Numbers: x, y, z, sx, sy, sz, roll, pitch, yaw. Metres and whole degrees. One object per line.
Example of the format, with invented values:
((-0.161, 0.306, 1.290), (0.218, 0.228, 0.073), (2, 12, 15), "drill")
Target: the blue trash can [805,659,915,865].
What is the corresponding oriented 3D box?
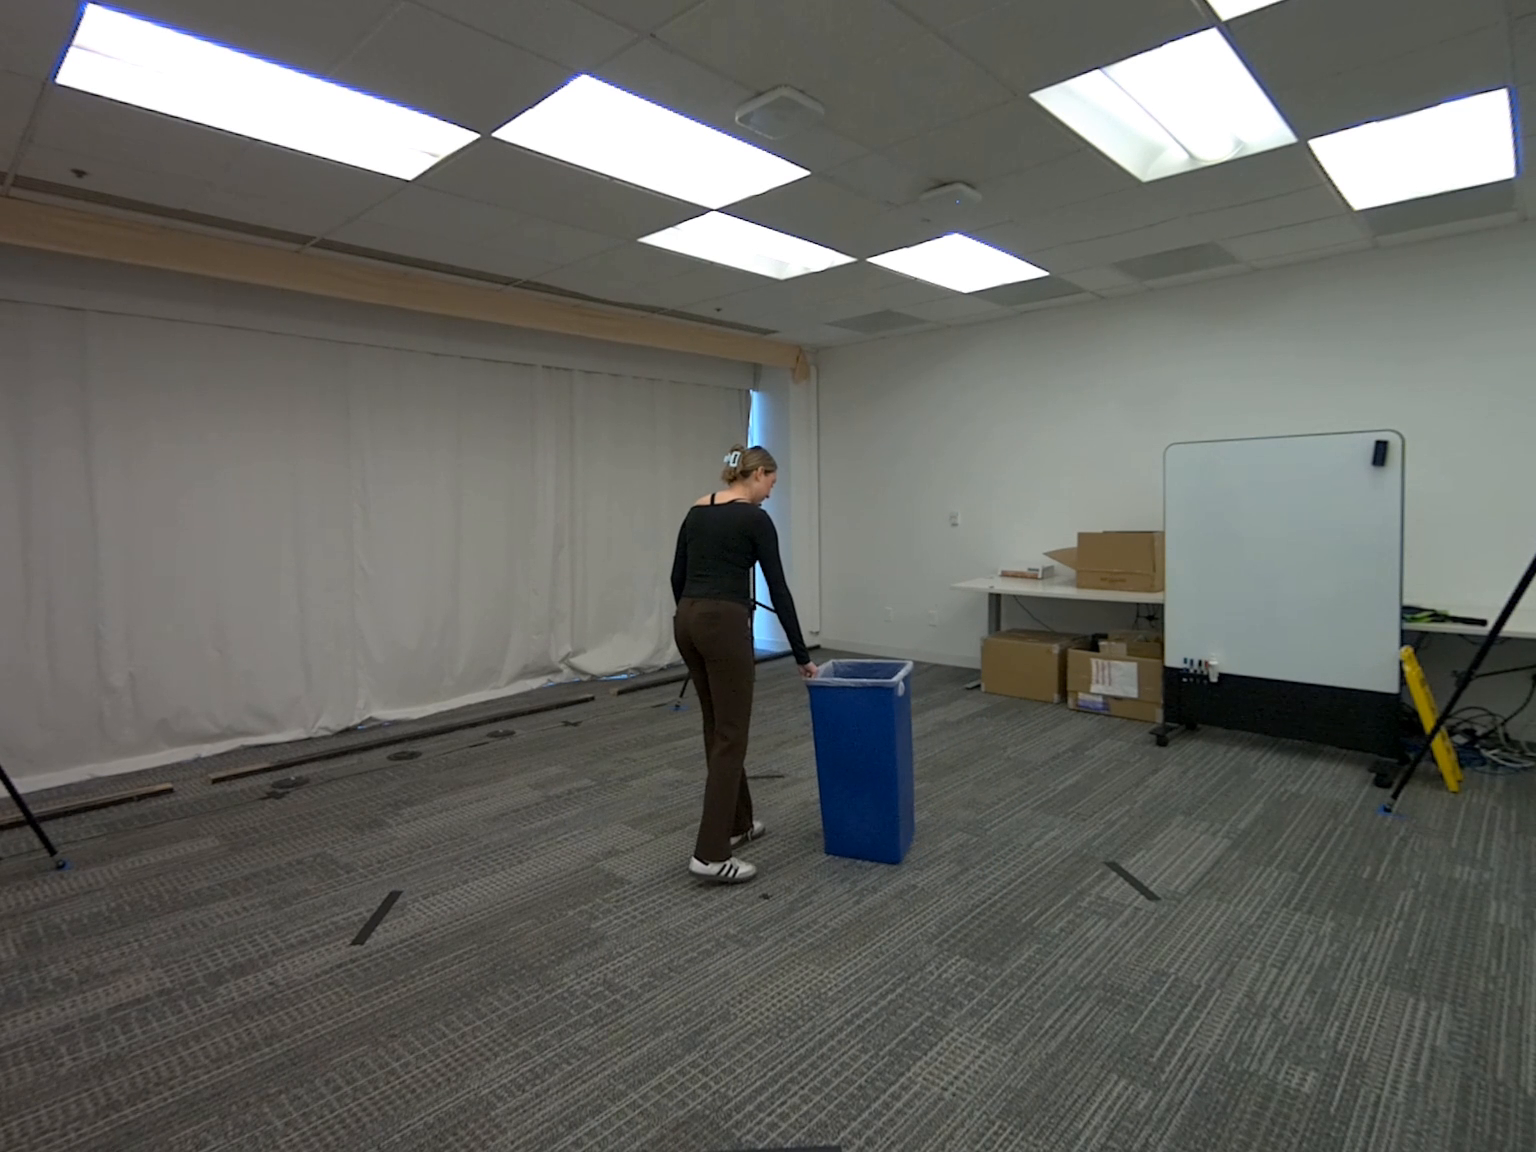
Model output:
((0.380, 0.726, 3.382), (0.382, 0.711, 0.371), (-2, 4, 22), "blue trash can")
